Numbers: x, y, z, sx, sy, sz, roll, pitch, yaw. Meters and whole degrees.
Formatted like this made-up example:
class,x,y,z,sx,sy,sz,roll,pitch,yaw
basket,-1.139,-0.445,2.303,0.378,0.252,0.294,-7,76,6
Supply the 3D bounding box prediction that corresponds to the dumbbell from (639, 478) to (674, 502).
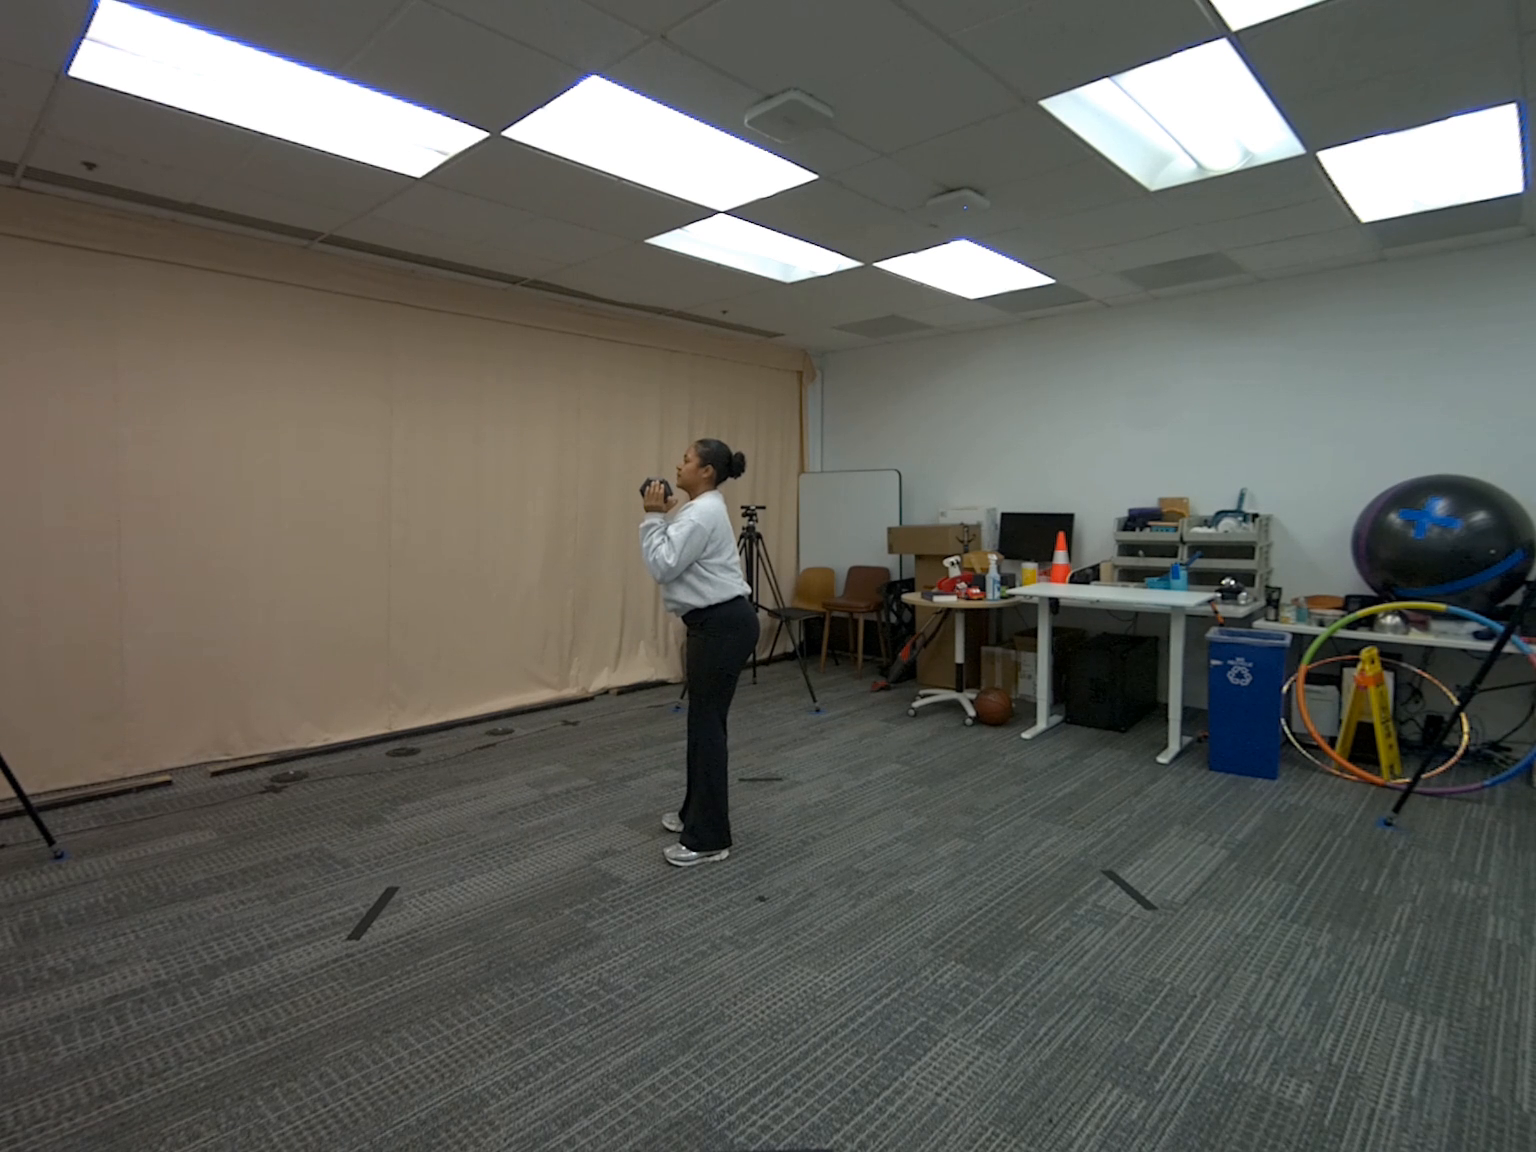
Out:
class,x,y,z,sx,sy,sz,roll,pitch,yaw
dumbbell,-0.442,-0.336,3.411,0.108,0.123,0.294,38,1,-4
